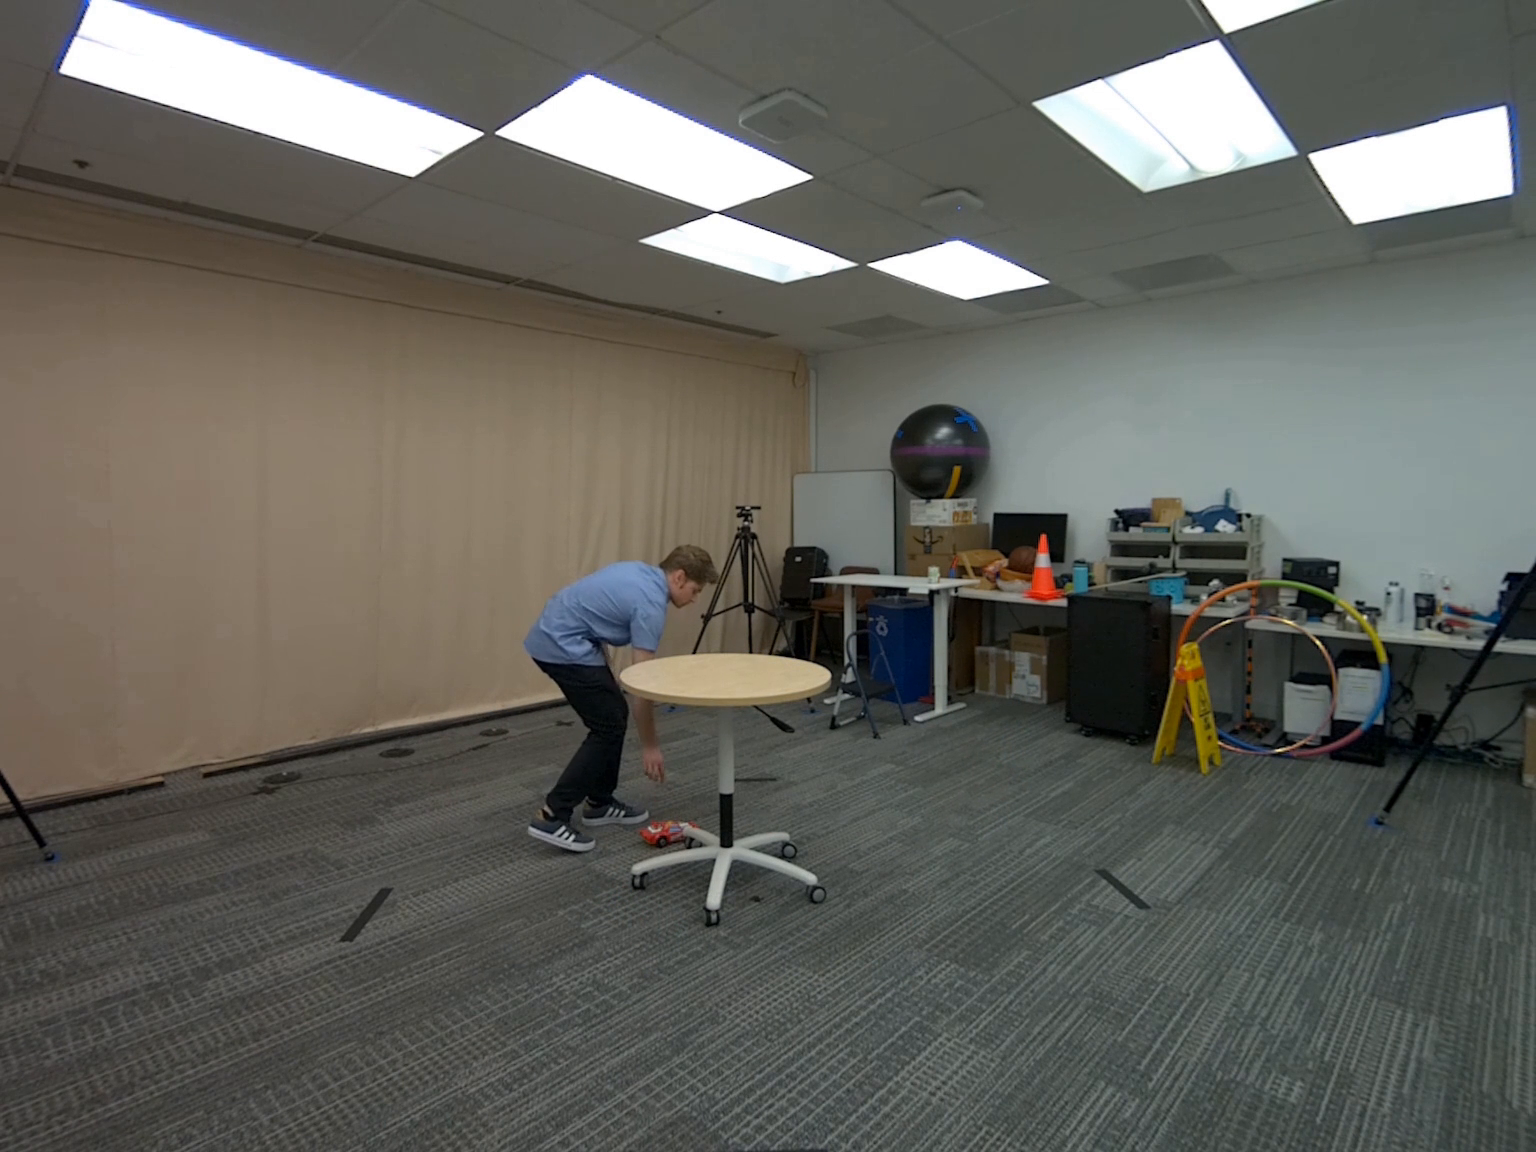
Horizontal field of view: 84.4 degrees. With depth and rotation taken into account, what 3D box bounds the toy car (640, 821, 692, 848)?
[{"bbox_3d":[-0.419,1.078,3.508,0.247,0.083,0.134,10,-1,-28],"label":"toy car"}]
